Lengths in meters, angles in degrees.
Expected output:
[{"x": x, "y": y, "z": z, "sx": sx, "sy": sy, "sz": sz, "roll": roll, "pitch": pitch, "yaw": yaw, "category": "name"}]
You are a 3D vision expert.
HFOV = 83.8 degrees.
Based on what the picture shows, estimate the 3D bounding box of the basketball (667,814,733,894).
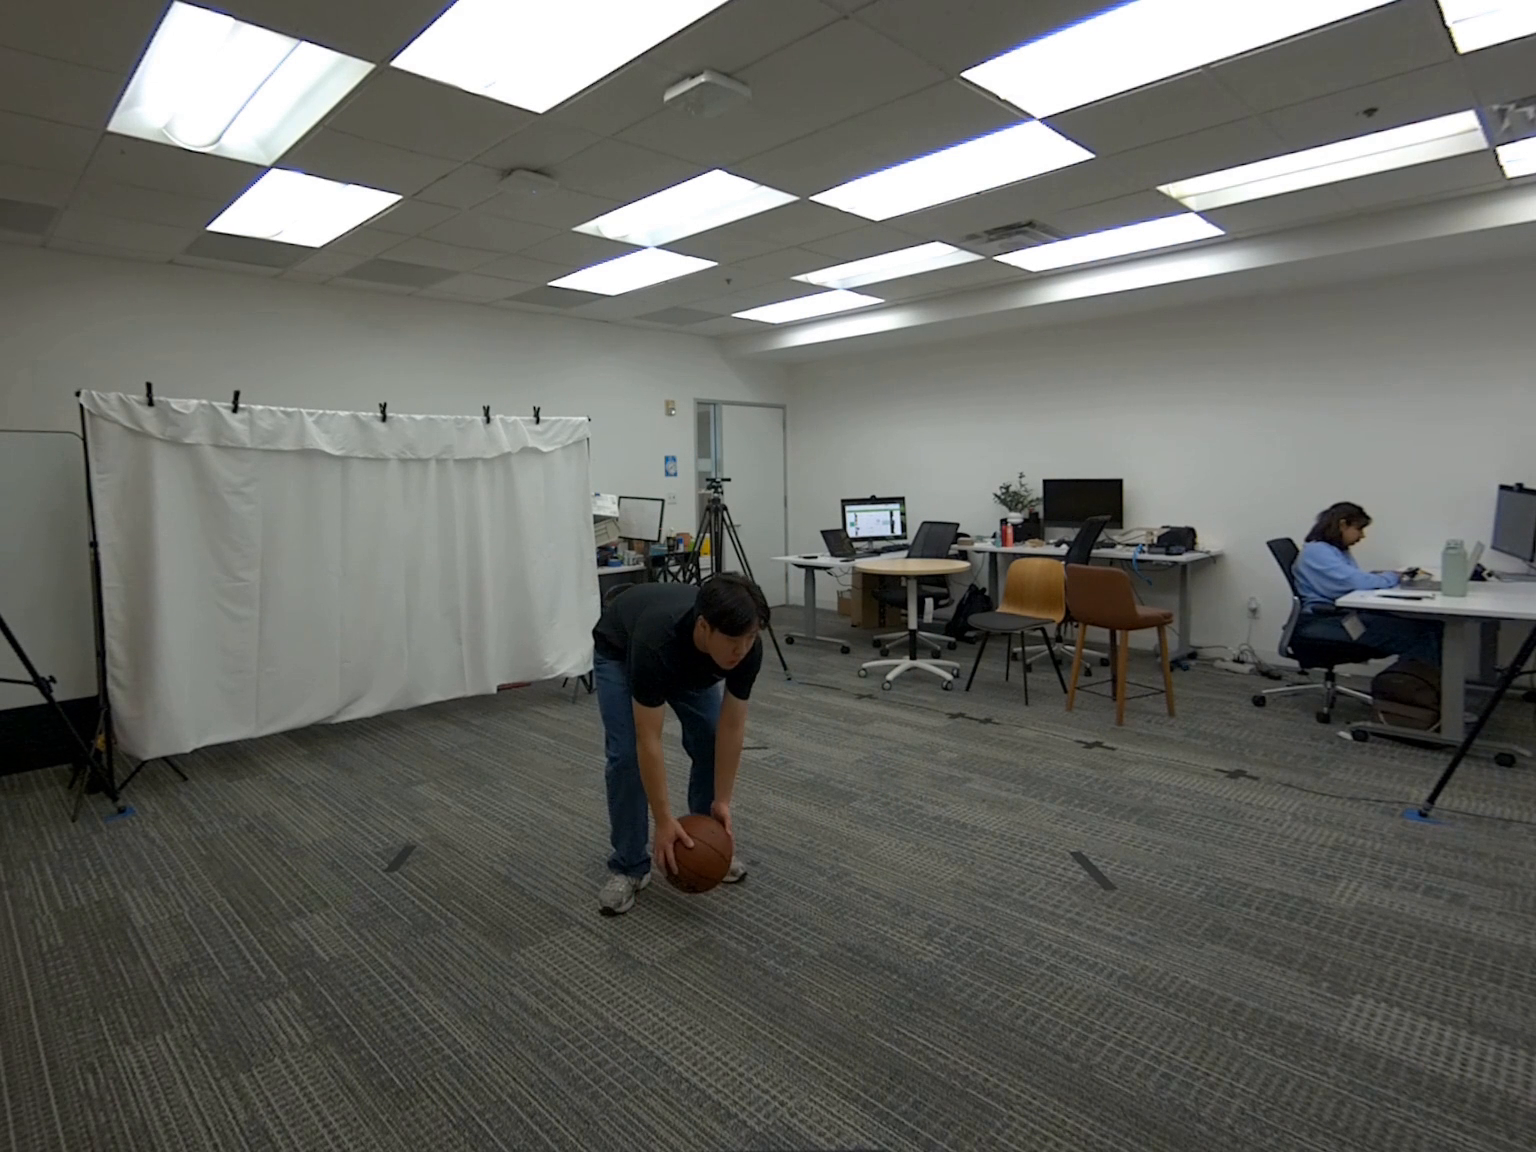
[{"x": -0.235, "y": 0.877, "z": 2.711, "sx": 0.236, "sy": 0.235, "sz": 0.237, "roll": -1, "pitch": 5, "yaw": -2, "category": "basketball"}]
